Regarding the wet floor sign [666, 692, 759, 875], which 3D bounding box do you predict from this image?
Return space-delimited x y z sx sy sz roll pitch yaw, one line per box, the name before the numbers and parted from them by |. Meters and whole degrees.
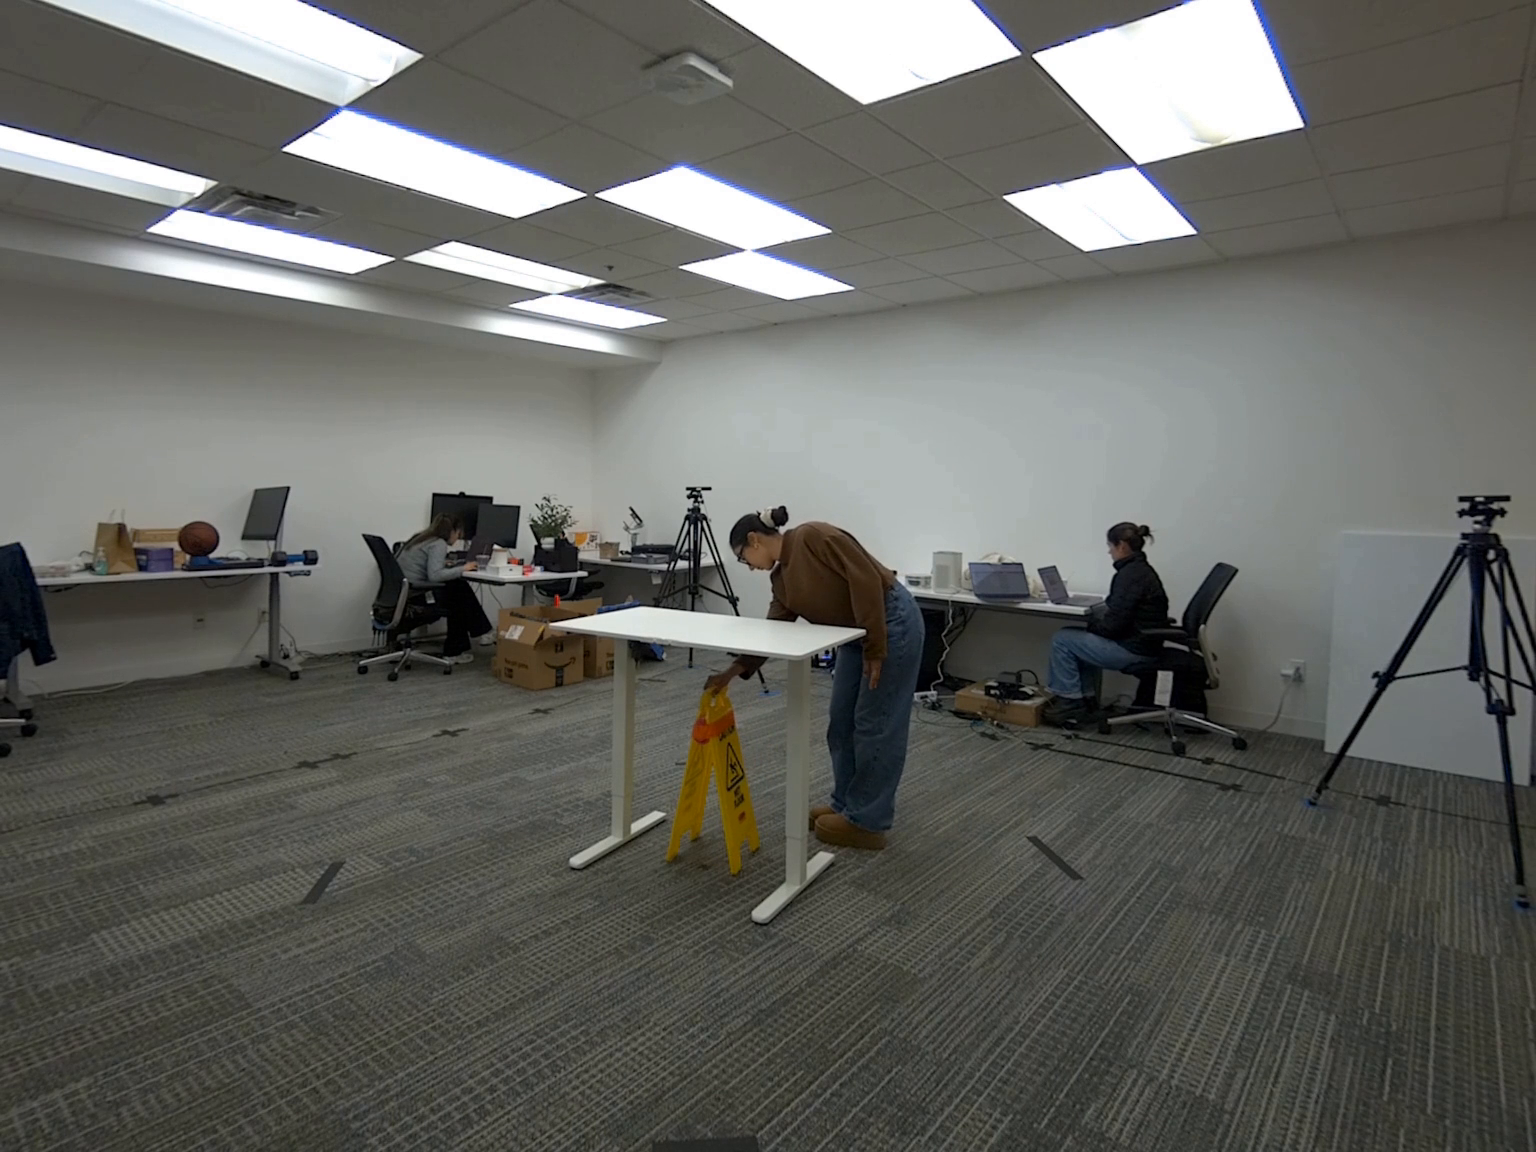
wet floor sign | -0.215 0.730 3.210 0.296 0.644 0.277 1 3 21
